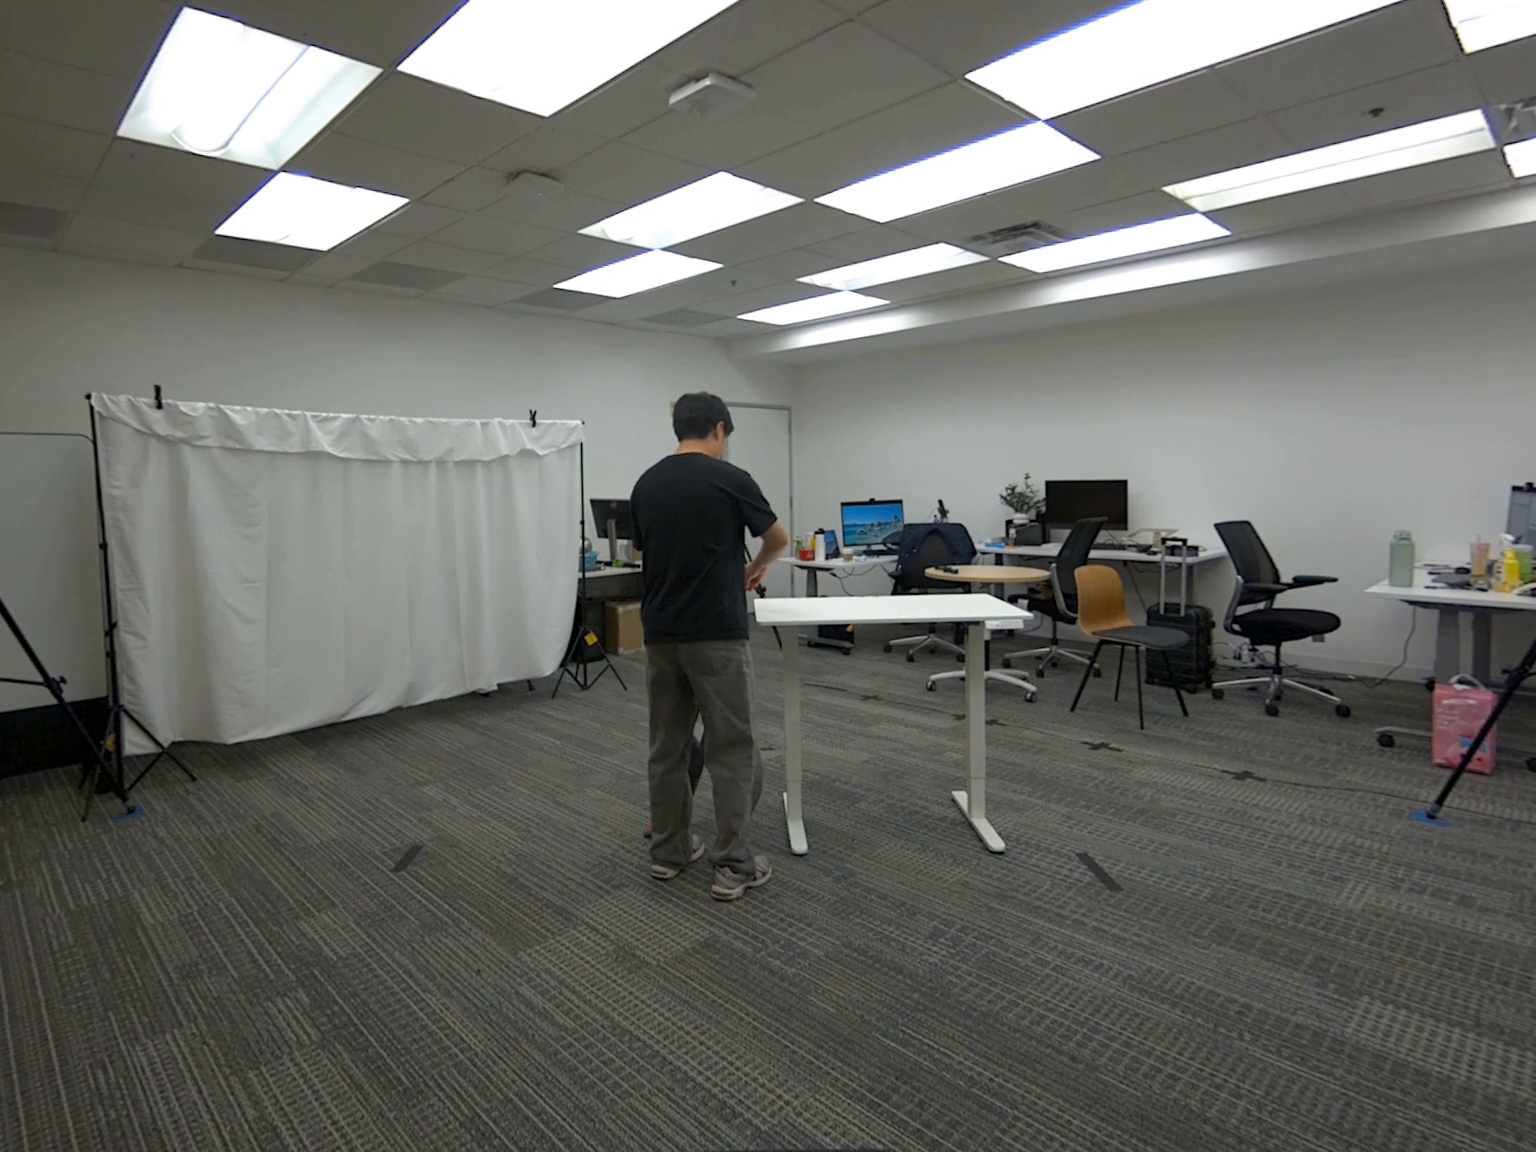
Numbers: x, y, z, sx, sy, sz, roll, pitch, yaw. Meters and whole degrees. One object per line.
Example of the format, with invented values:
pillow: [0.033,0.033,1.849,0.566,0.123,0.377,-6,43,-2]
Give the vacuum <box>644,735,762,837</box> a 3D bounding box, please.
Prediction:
vacuum: [-0.230,0.517,3.393,0.145,1.044,0.252,19,8,3]
